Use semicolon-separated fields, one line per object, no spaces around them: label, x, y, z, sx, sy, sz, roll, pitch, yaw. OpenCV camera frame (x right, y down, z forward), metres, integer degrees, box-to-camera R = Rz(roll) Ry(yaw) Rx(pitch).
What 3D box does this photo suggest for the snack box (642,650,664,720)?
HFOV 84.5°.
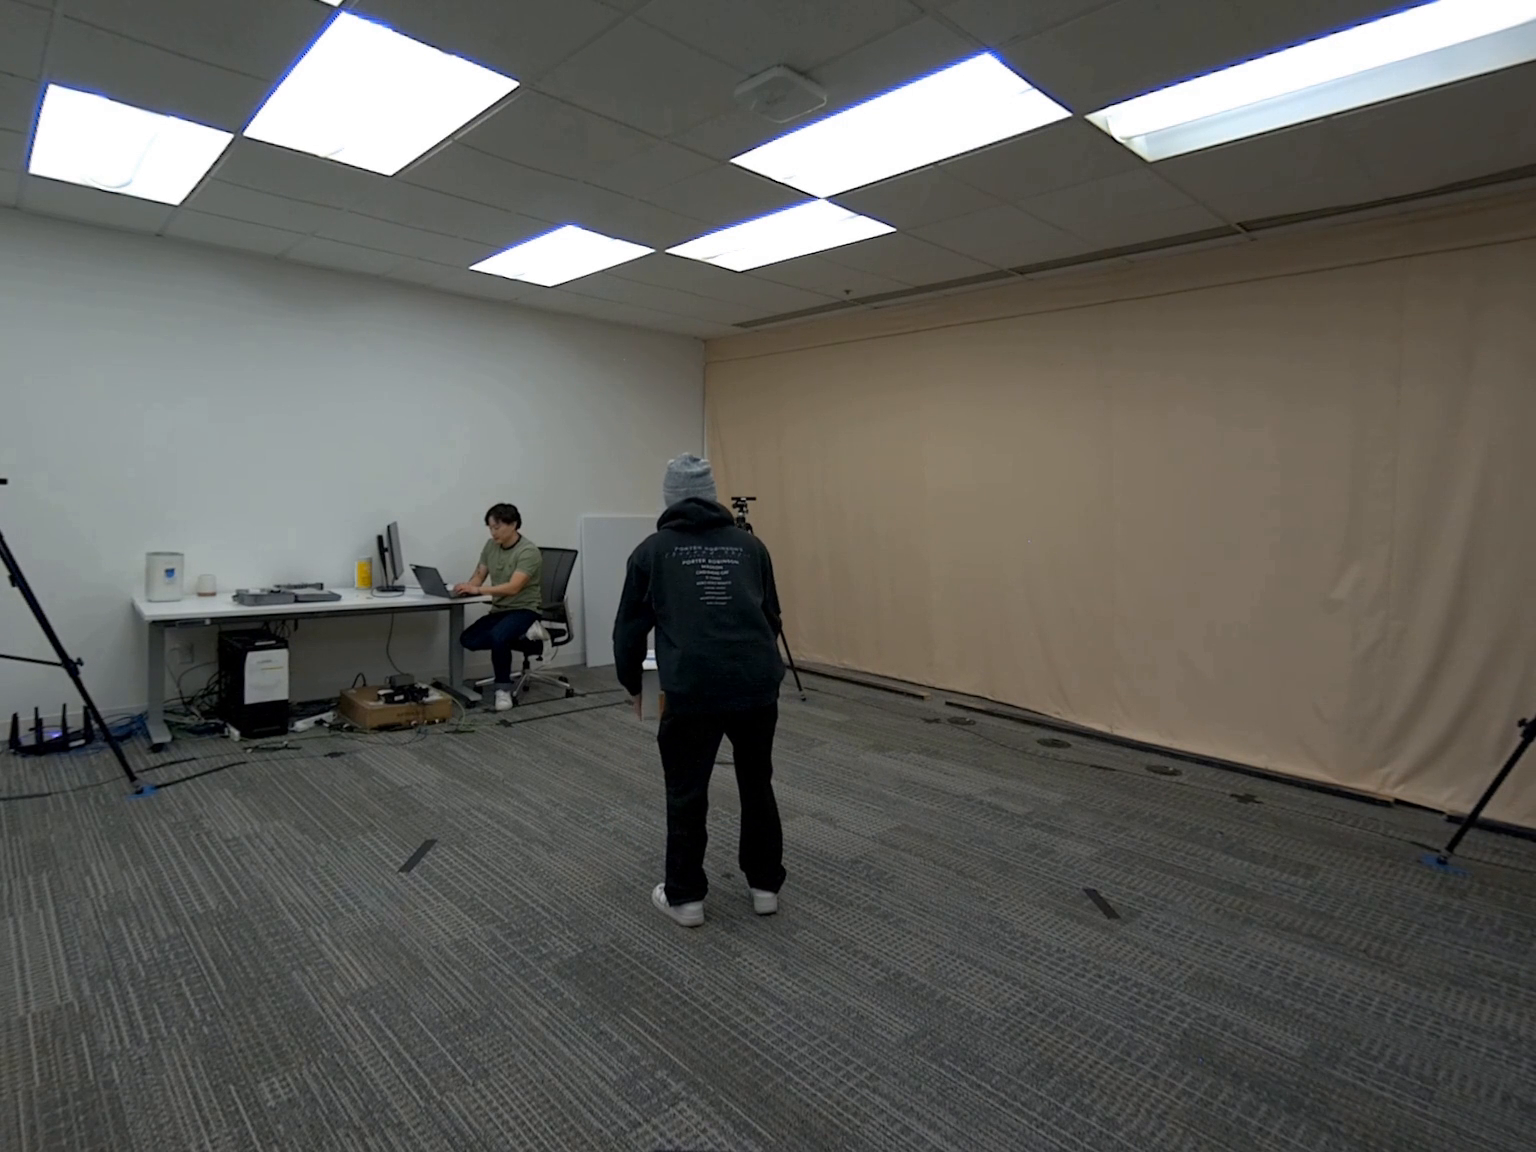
snack box;-0.289;0.414;3.220;0.402;0.205;0.344;0;7;-10
